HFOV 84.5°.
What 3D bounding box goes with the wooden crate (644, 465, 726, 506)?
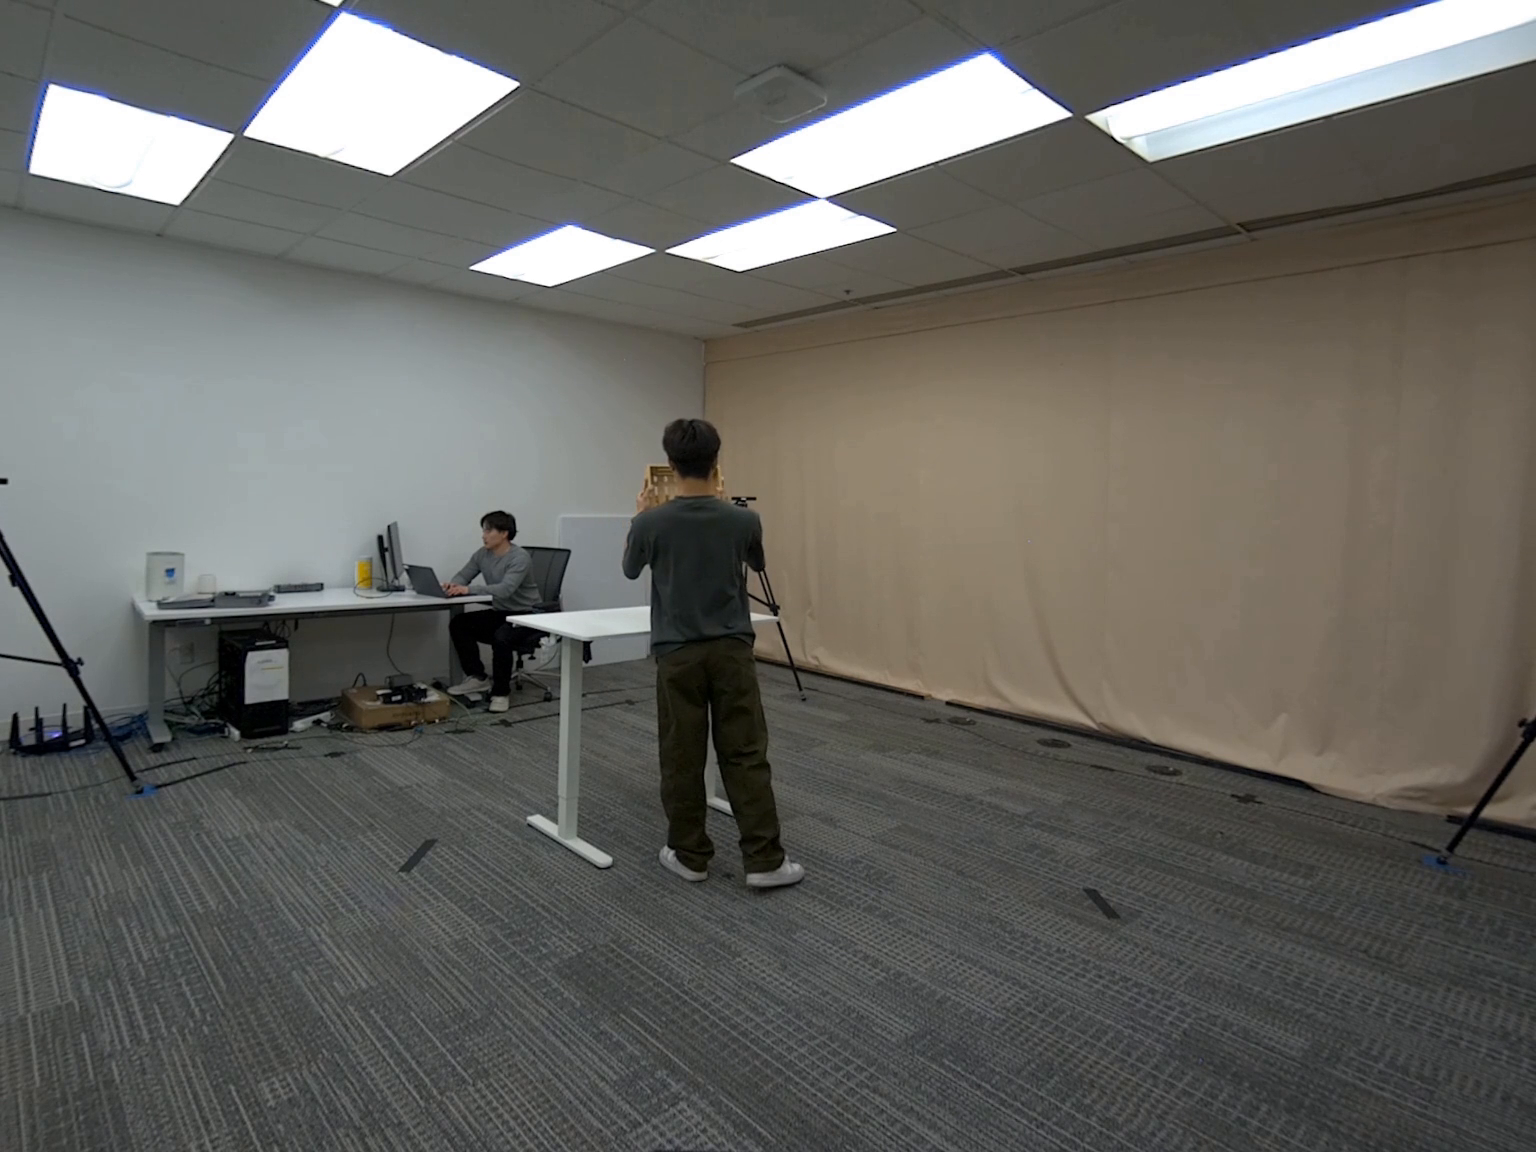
[{"bbox_3d":[-0.357,-0.268,3.489,0.321,0.307,0.271,0,-22,-14],"label":"wooden crate"}]
